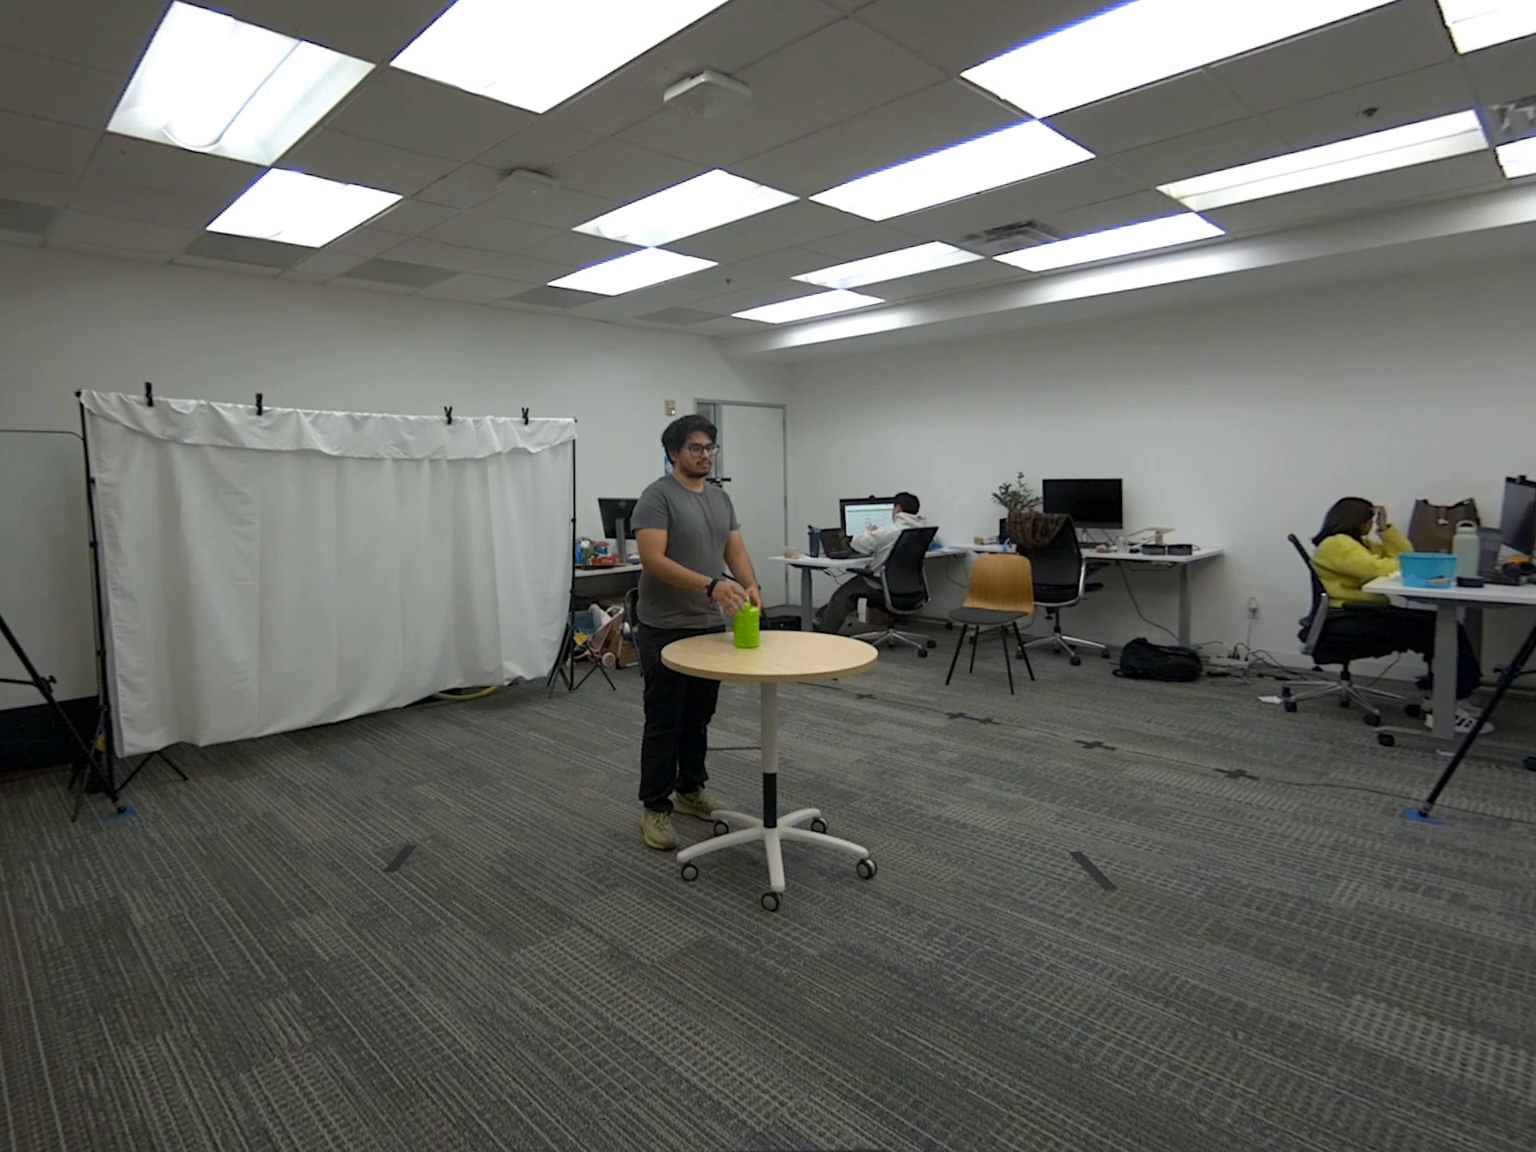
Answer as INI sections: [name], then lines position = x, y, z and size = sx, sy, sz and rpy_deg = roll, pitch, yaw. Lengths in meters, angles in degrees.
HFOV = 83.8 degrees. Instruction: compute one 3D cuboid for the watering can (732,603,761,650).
[watering can]
position = -0.092, 0.177, 3.092
size = 0.100, 0.176, 0.272
rpy_deg = -1, 4, 27
